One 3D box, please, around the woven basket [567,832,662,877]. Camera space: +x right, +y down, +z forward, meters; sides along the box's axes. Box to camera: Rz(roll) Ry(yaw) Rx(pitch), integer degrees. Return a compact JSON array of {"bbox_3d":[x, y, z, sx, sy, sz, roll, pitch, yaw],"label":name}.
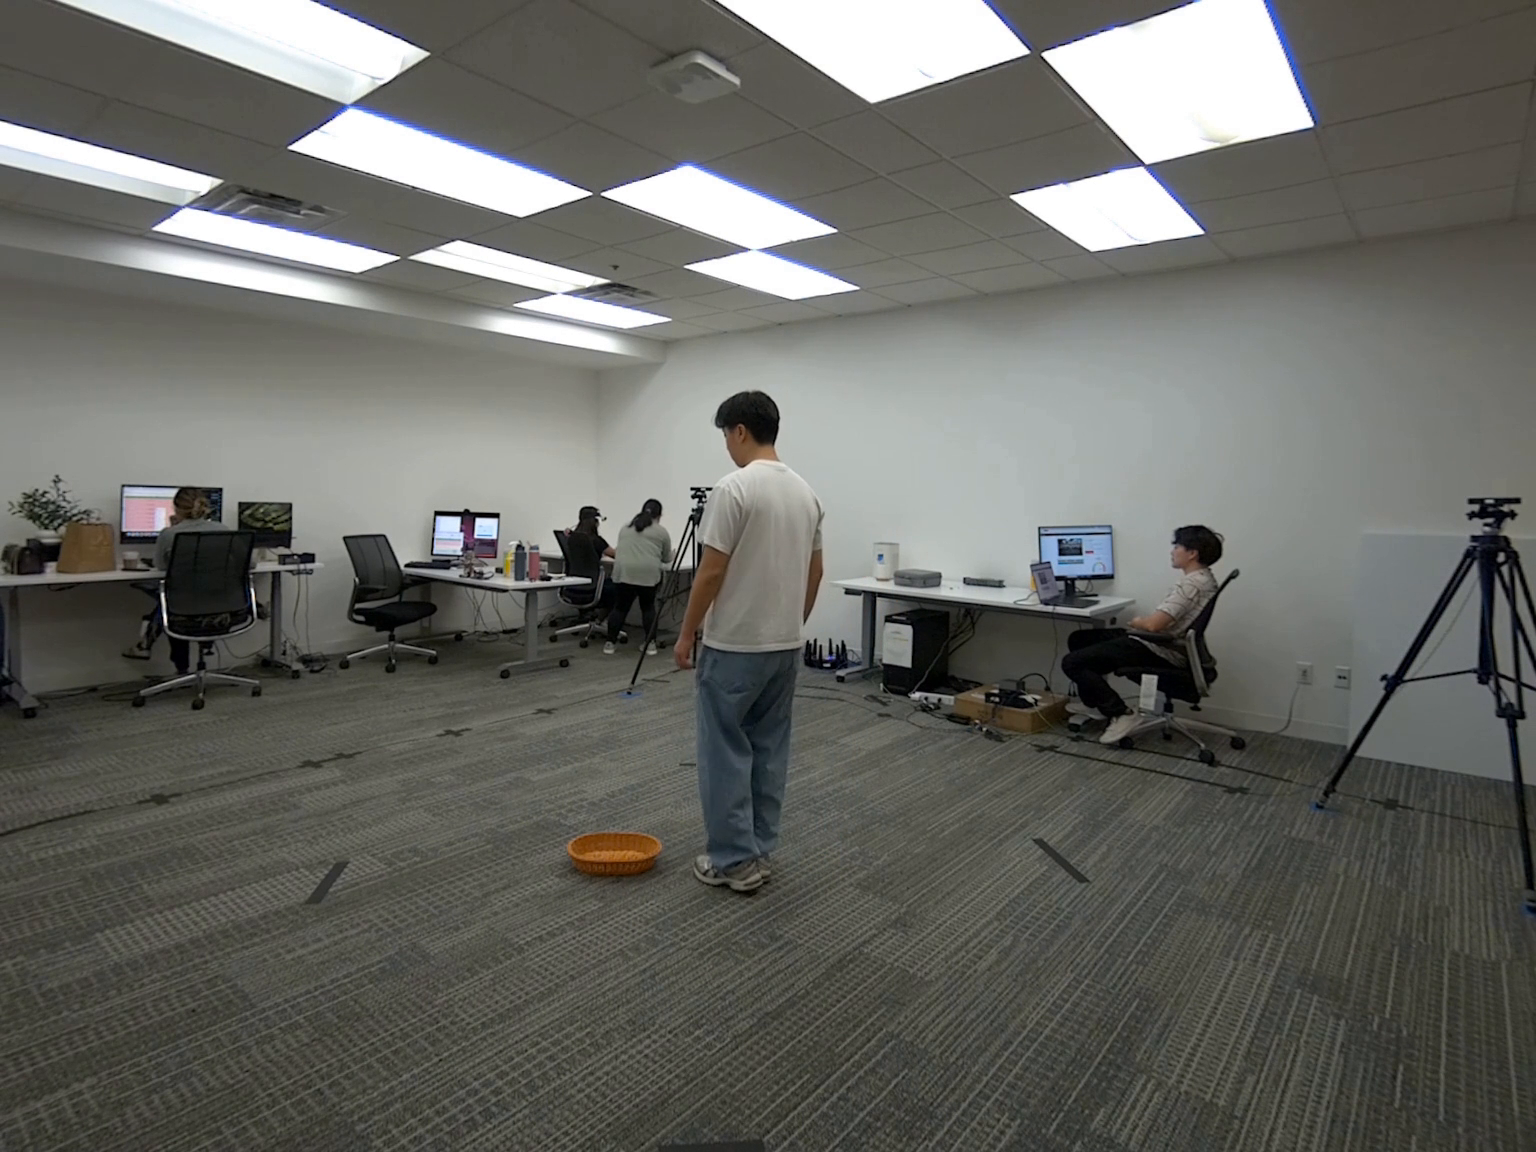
[{"bbox_3d":[-0.578,1.022,3.133,0.350,0.073,0.253,2,6,-1],"label":"woven basket"}]
